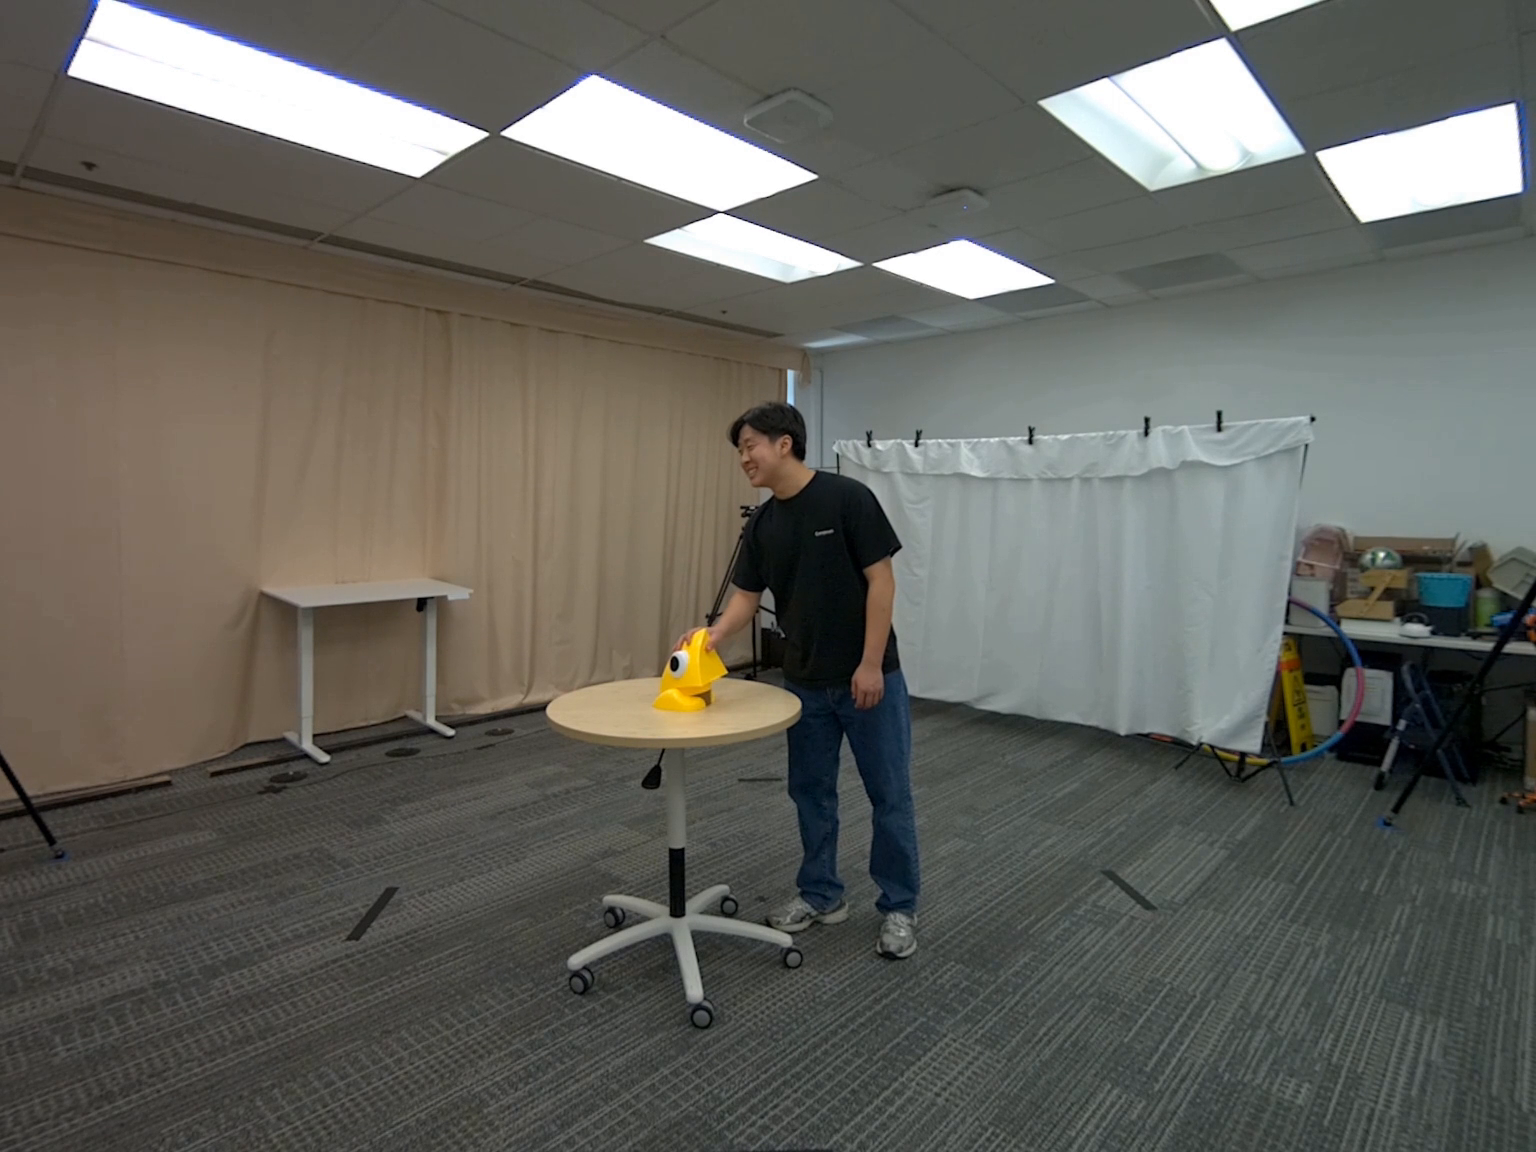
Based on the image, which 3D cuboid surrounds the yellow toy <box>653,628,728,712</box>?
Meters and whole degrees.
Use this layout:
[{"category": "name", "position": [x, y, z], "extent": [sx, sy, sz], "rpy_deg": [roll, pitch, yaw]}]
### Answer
[{"category": "yellow toy", "position": [-0.241, 0.275, 2.540], "extent": [0.197, 0.230, 0.201], "rpy_deg": [1, 4, 21]}]
